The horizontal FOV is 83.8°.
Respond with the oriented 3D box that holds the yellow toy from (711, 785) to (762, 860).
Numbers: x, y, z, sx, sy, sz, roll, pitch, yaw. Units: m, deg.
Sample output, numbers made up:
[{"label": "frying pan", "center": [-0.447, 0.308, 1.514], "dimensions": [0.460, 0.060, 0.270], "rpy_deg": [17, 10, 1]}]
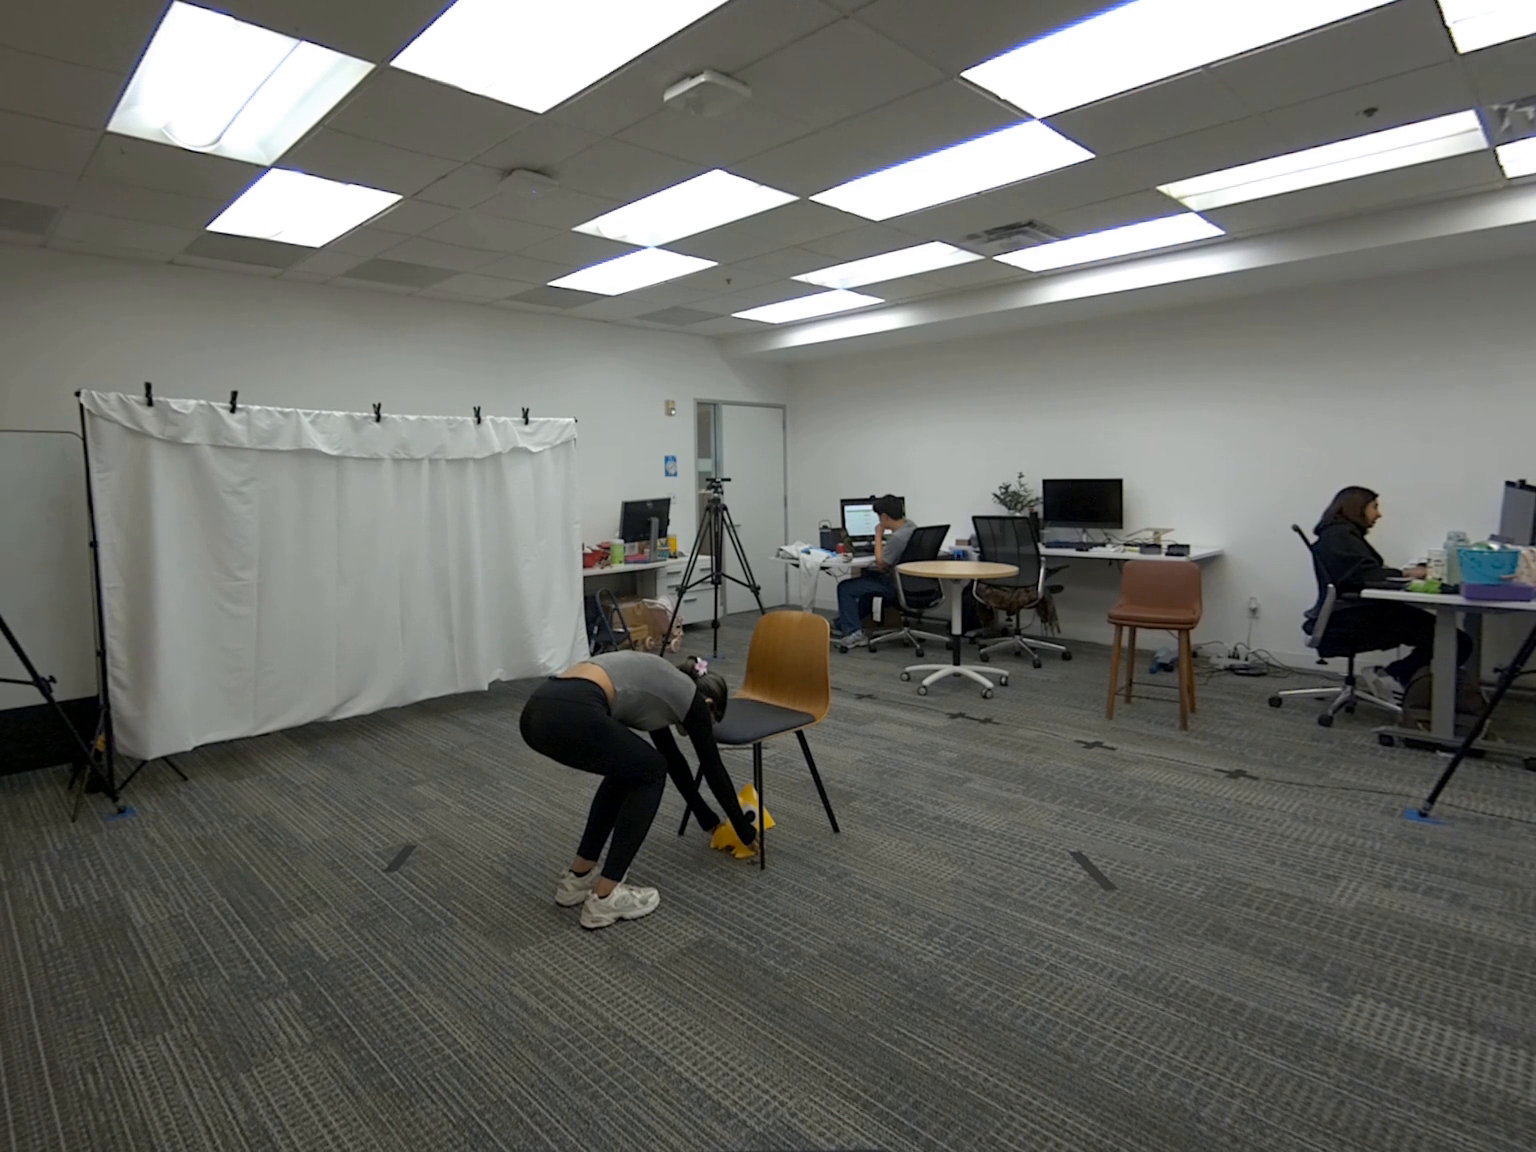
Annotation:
[{"label": "yellow toy", "center": [-0.108, 0.911, 3.247], "dimensions": [0.211, 0.229, 0.188], "rpy_deg": [6, 8, 43]}]
